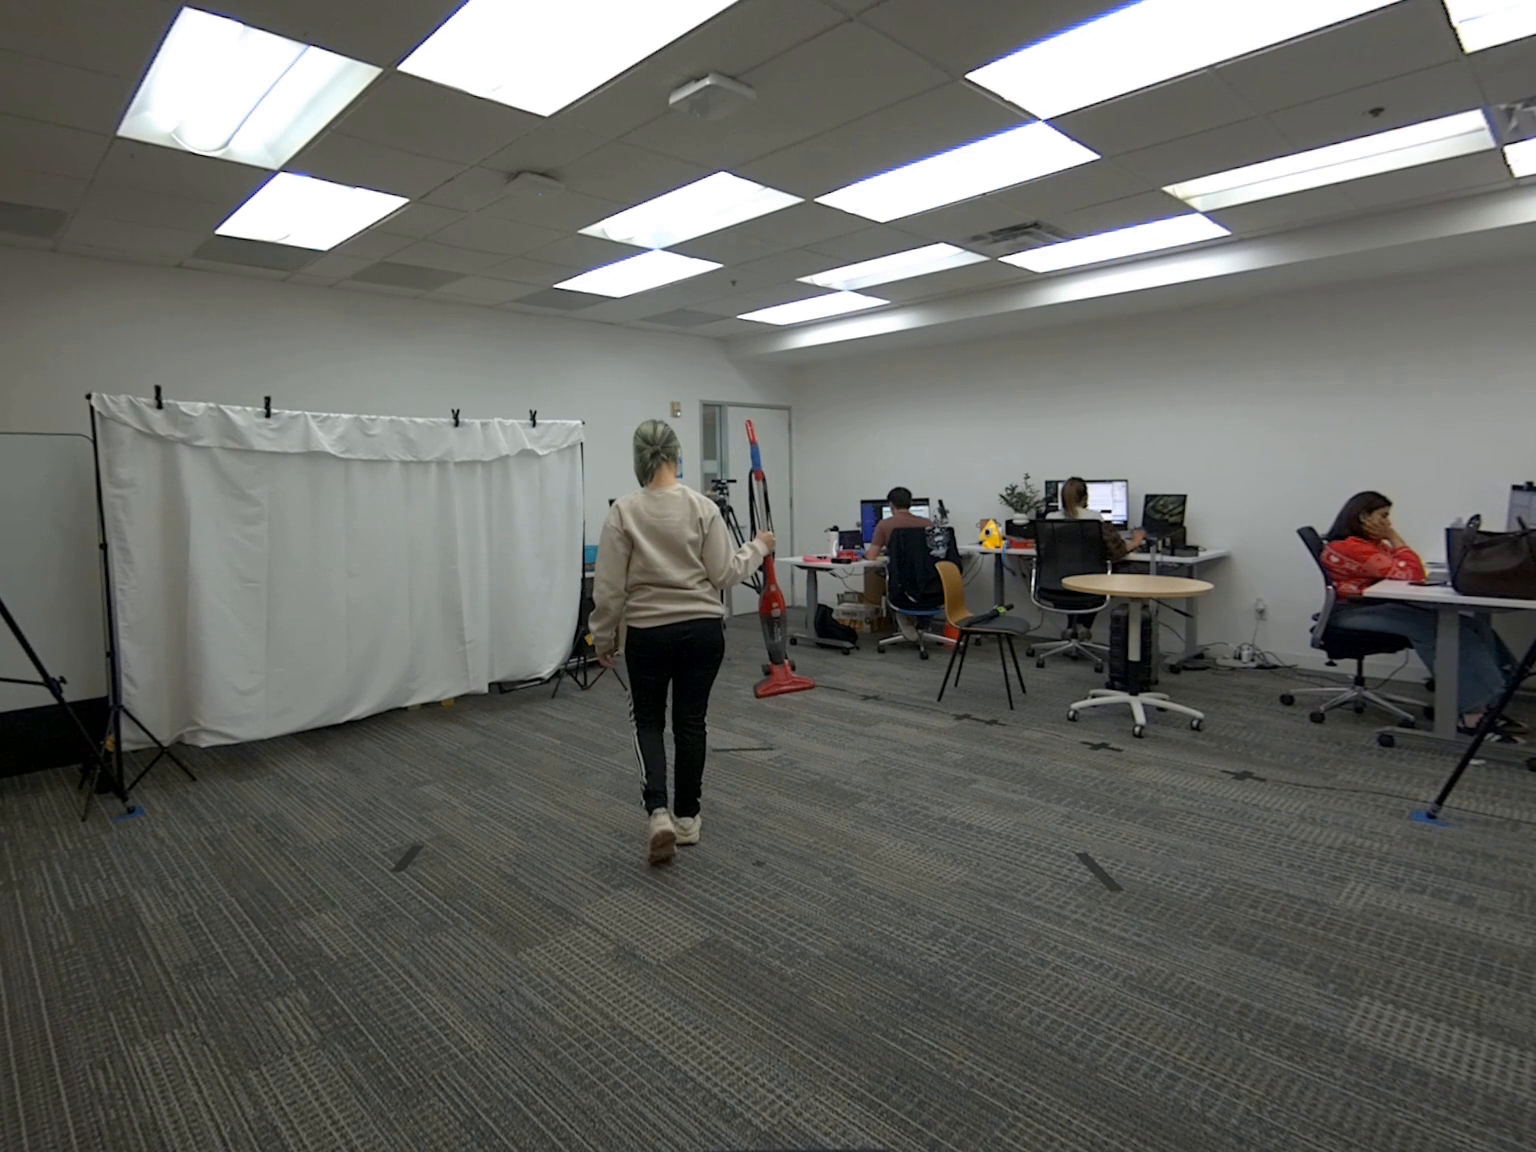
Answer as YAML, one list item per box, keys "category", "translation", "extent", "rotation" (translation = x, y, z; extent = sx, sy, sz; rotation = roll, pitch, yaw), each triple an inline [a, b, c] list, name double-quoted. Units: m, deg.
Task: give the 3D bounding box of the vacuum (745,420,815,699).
- category: "vacuum"
  translation: [-0.006, -0.089, 3.453]
  extent: [0.250, 1.044, 0.146]
  rotation: [-9, 5, -13]
